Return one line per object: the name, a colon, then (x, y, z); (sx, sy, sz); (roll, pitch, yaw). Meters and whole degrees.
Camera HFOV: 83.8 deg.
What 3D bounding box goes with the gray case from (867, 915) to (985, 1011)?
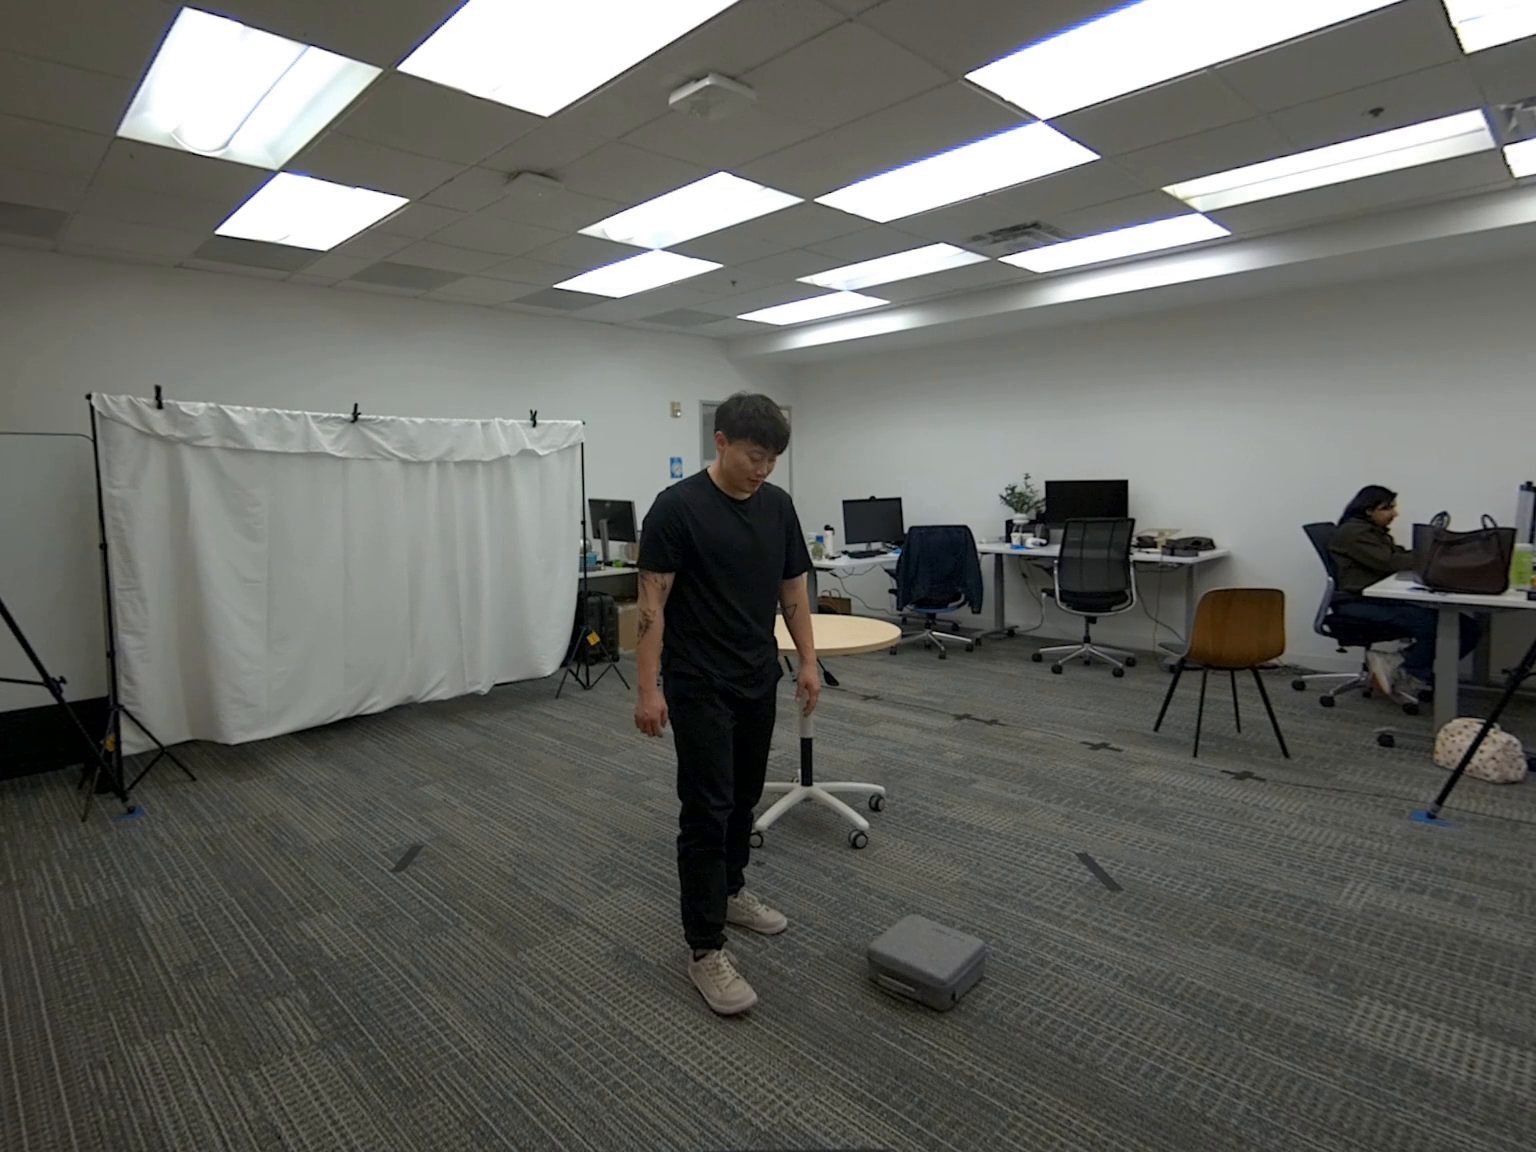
gray case: (0.452, 1.069, 2.368); (0.265, 0.104, 0.254); (4, 9, 41)
